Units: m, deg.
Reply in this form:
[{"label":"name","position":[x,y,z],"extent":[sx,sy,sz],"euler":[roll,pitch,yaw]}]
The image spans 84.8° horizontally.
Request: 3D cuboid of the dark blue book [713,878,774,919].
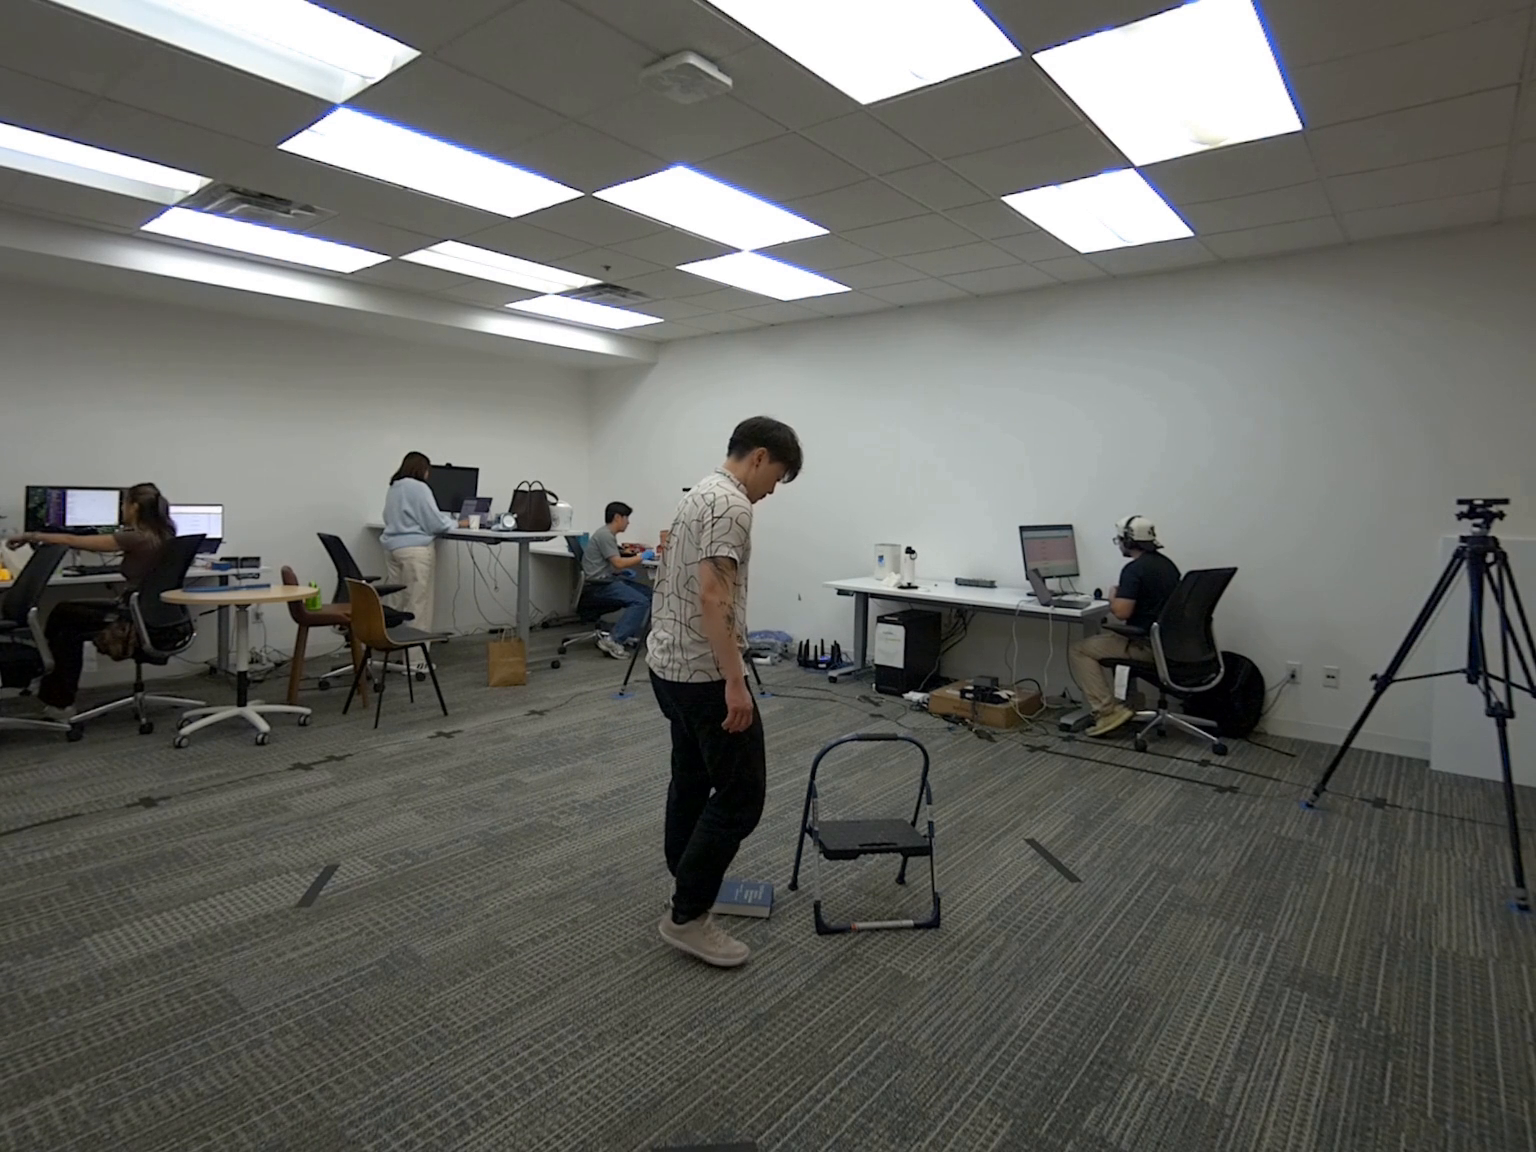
[{"label":"dark blue book","position":[-0.116,1.082,2.847],"extent":[0.247,0.045,0.163],"euler":[1,6,7]}]
